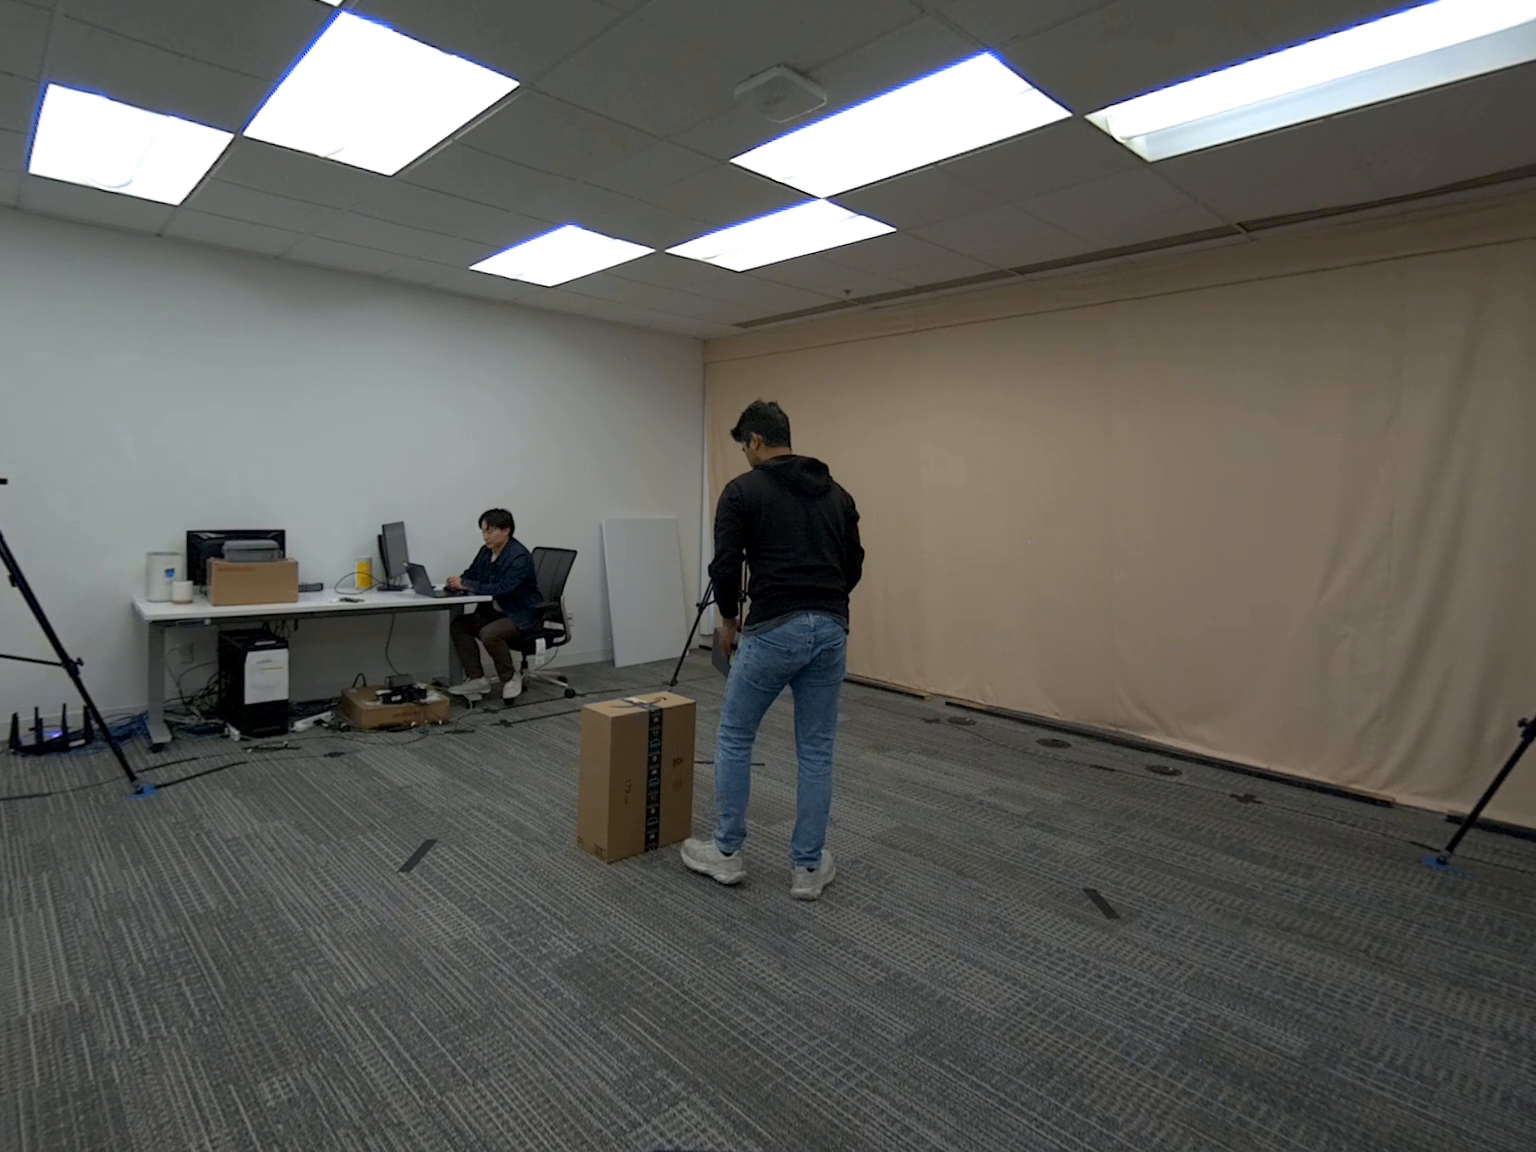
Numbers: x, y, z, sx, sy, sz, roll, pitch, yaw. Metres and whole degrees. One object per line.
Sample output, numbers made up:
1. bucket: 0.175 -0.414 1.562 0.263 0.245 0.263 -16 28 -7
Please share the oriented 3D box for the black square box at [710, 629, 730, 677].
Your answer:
1. black square box: -0.083 0.315 3.299 0.224 0.154 0.222 -1 15 -23
